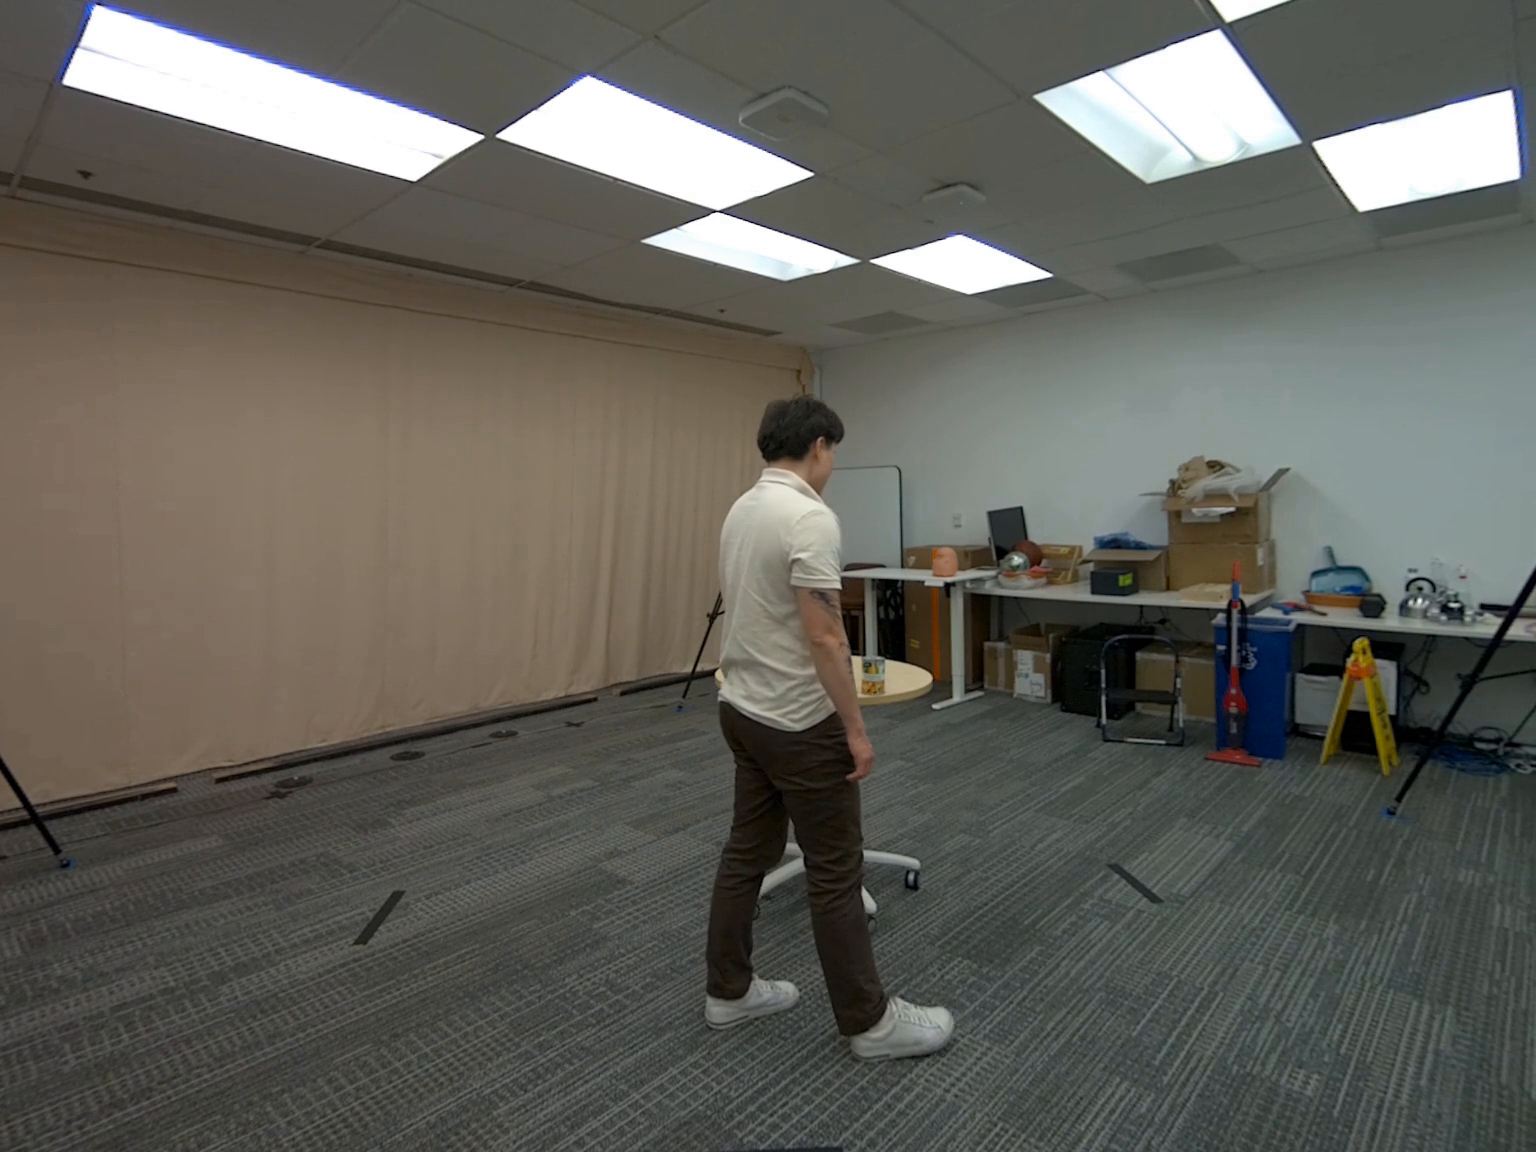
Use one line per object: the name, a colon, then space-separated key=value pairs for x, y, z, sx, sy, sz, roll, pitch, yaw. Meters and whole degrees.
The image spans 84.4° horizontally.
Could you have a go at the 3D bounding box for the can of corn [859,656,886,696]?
can of corn: x=0.347 y=0.320 z=2.687 sx=0.074 sy=0.111 sz=0.074 roll=0 pitch=4 yaw=-2
